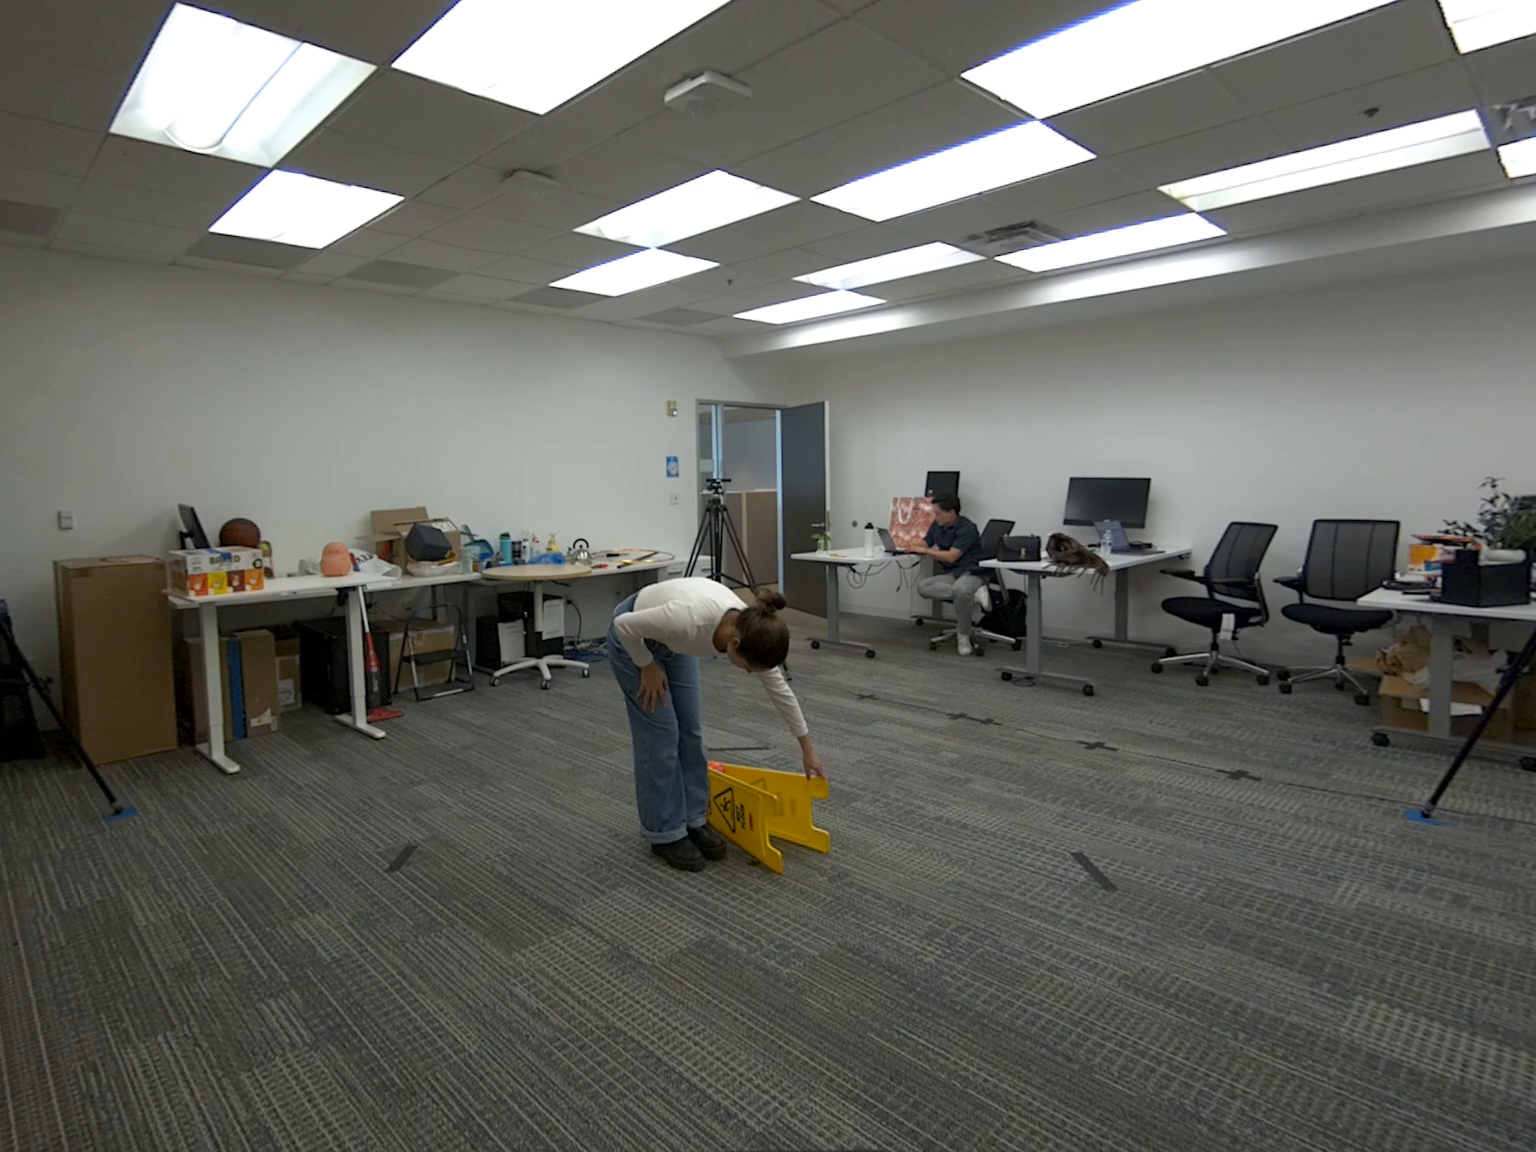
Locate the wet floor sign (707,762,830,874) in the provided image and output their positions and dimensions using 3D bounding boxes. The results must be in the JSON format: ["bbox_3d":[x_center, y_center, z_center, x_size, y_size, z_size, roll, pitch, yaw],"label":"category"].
[{"bbox_3d":[-0.097,0.890,3.333,0.282,0.281,0.665,-5,5,-42],"label":"wet floor sign"}]
